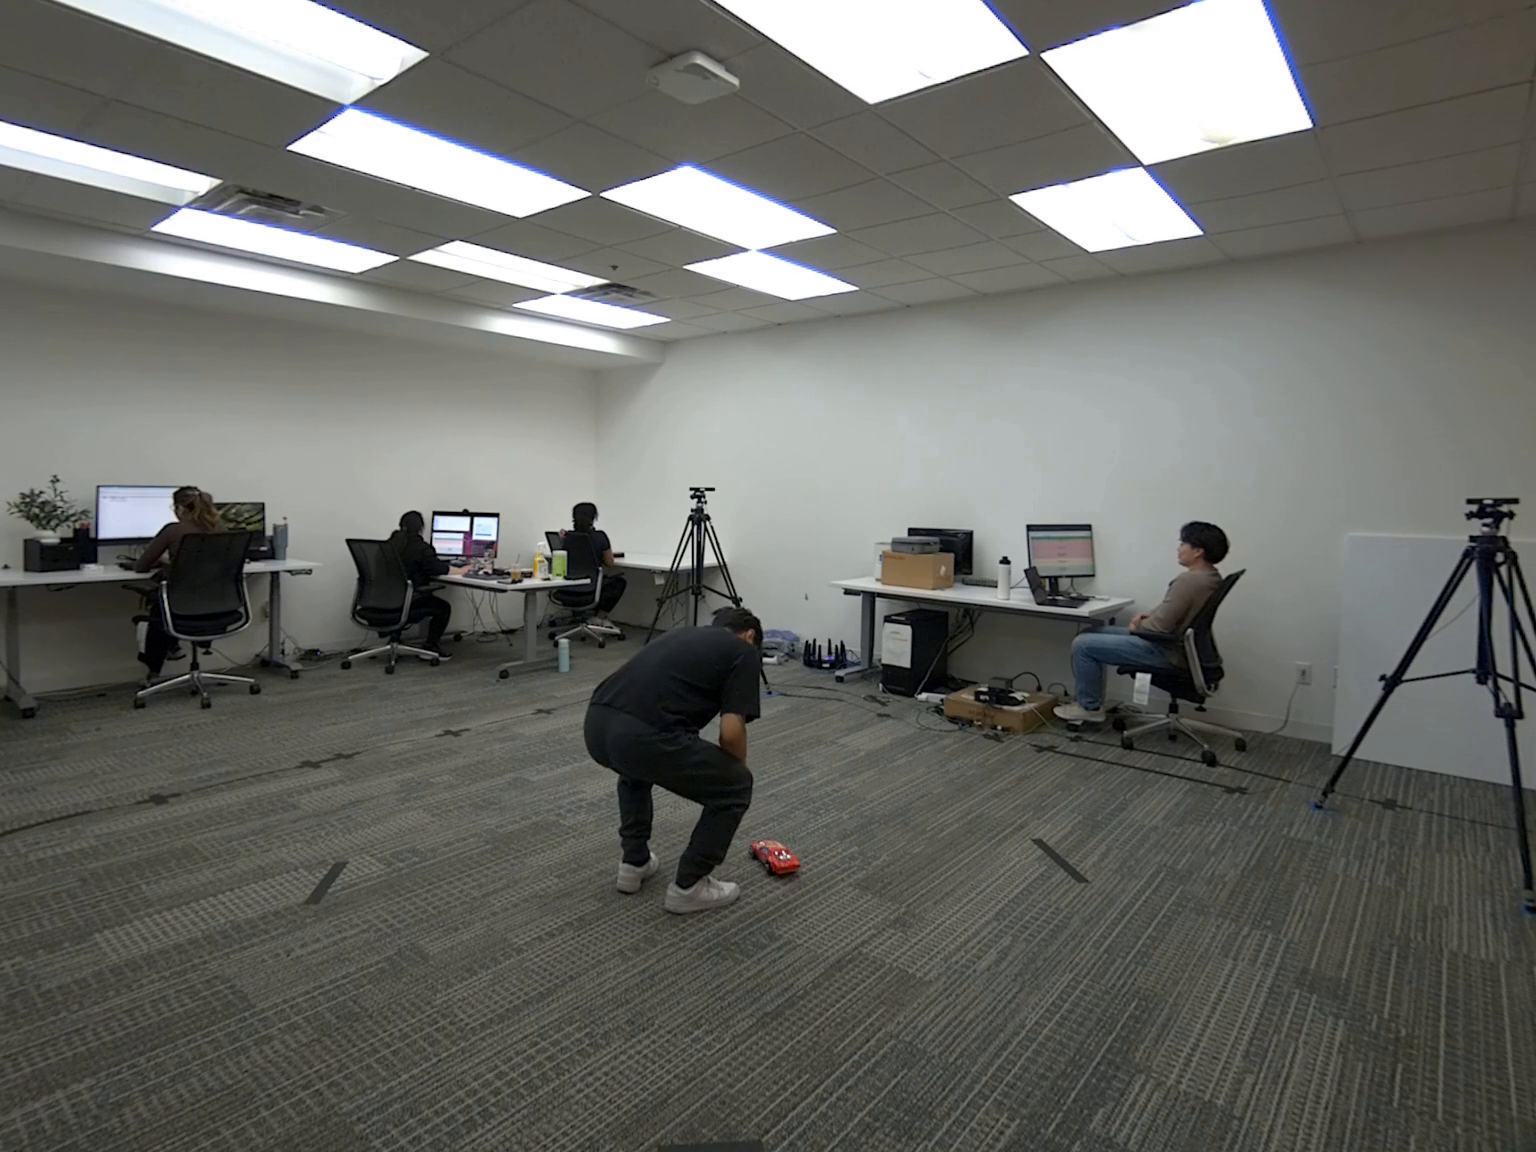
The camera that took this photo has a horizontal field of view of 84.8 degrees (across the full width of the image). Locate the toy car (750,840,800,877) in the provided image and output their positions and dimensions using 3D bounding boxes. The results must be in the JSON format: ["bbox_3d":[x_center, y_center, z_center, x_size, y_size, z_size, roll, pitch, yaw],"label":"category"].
[{"bbox_3d":[0.022,1.042,3.138,0.127,0.084,0.259,0,-4,-24],"label":"toy car"}]
